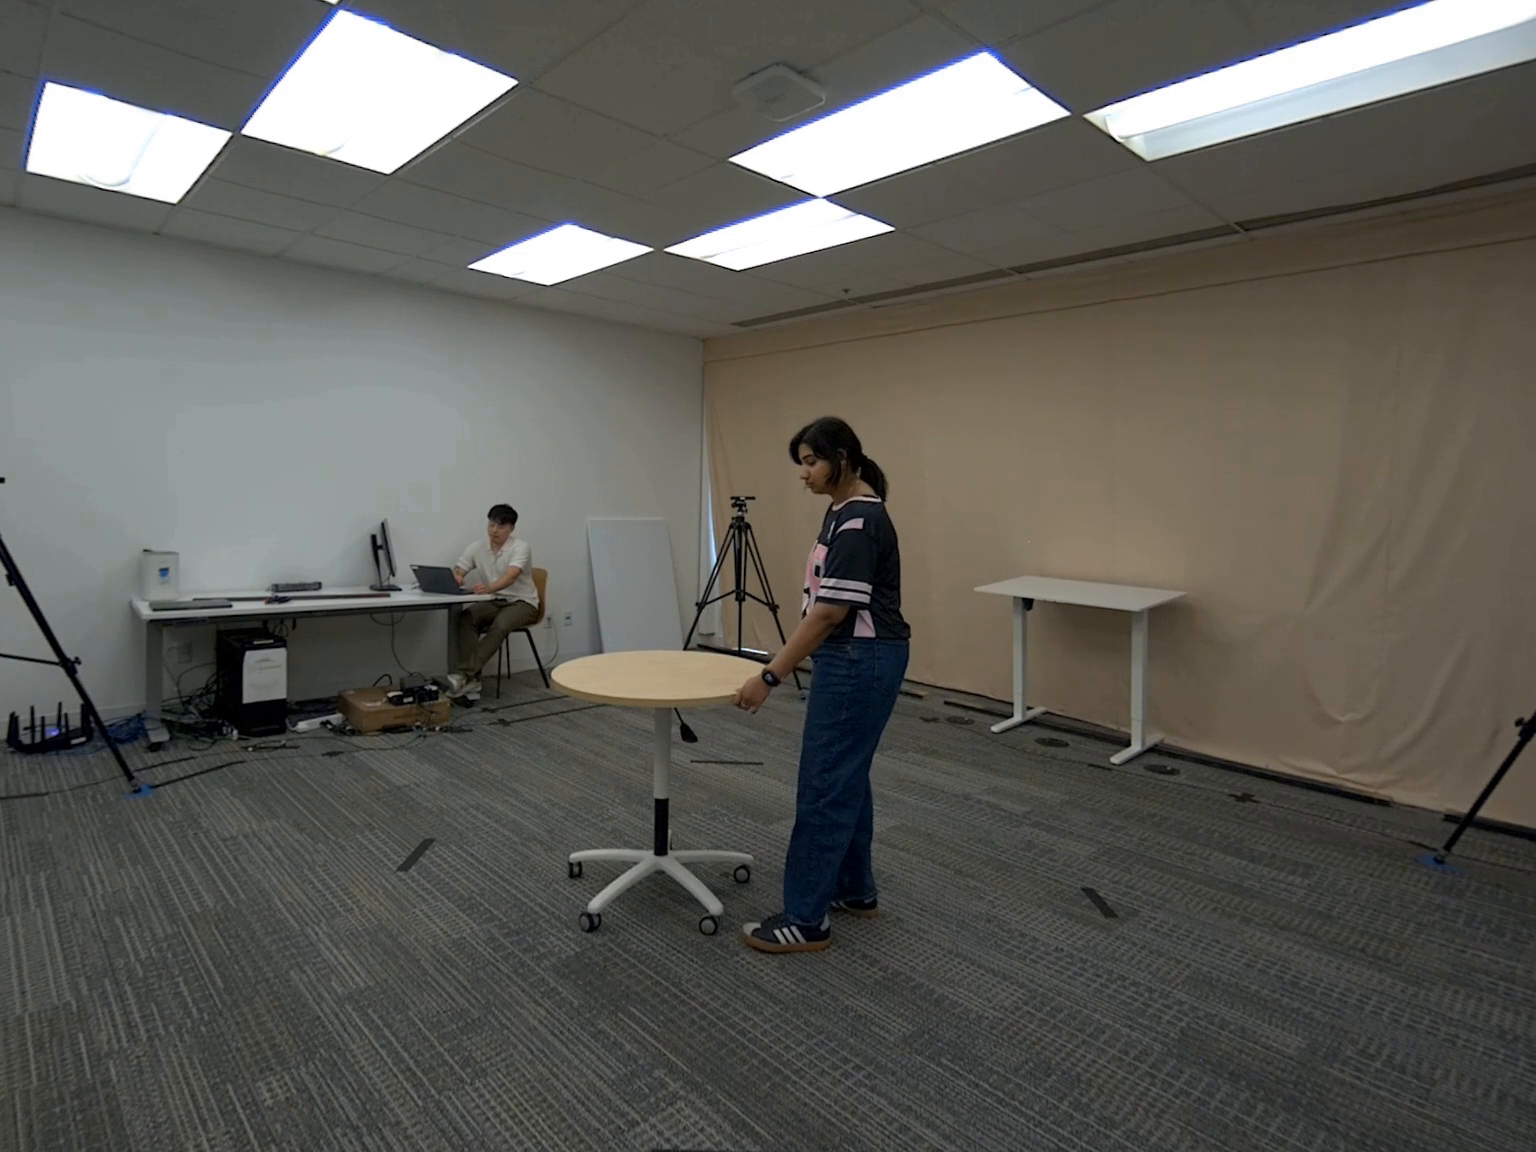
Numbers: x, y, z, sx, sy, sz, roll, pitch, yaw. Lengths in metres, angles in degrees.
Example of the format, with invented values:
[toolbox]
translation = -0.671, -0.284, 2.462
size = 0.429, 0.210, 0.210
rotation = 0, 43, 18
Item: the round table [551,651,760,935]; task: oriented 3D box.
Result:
[round table]
translation = -0.372, 0.723, 2.937
size = 0.763, 0.791, 0.767
rotation = 1, 5, -1
